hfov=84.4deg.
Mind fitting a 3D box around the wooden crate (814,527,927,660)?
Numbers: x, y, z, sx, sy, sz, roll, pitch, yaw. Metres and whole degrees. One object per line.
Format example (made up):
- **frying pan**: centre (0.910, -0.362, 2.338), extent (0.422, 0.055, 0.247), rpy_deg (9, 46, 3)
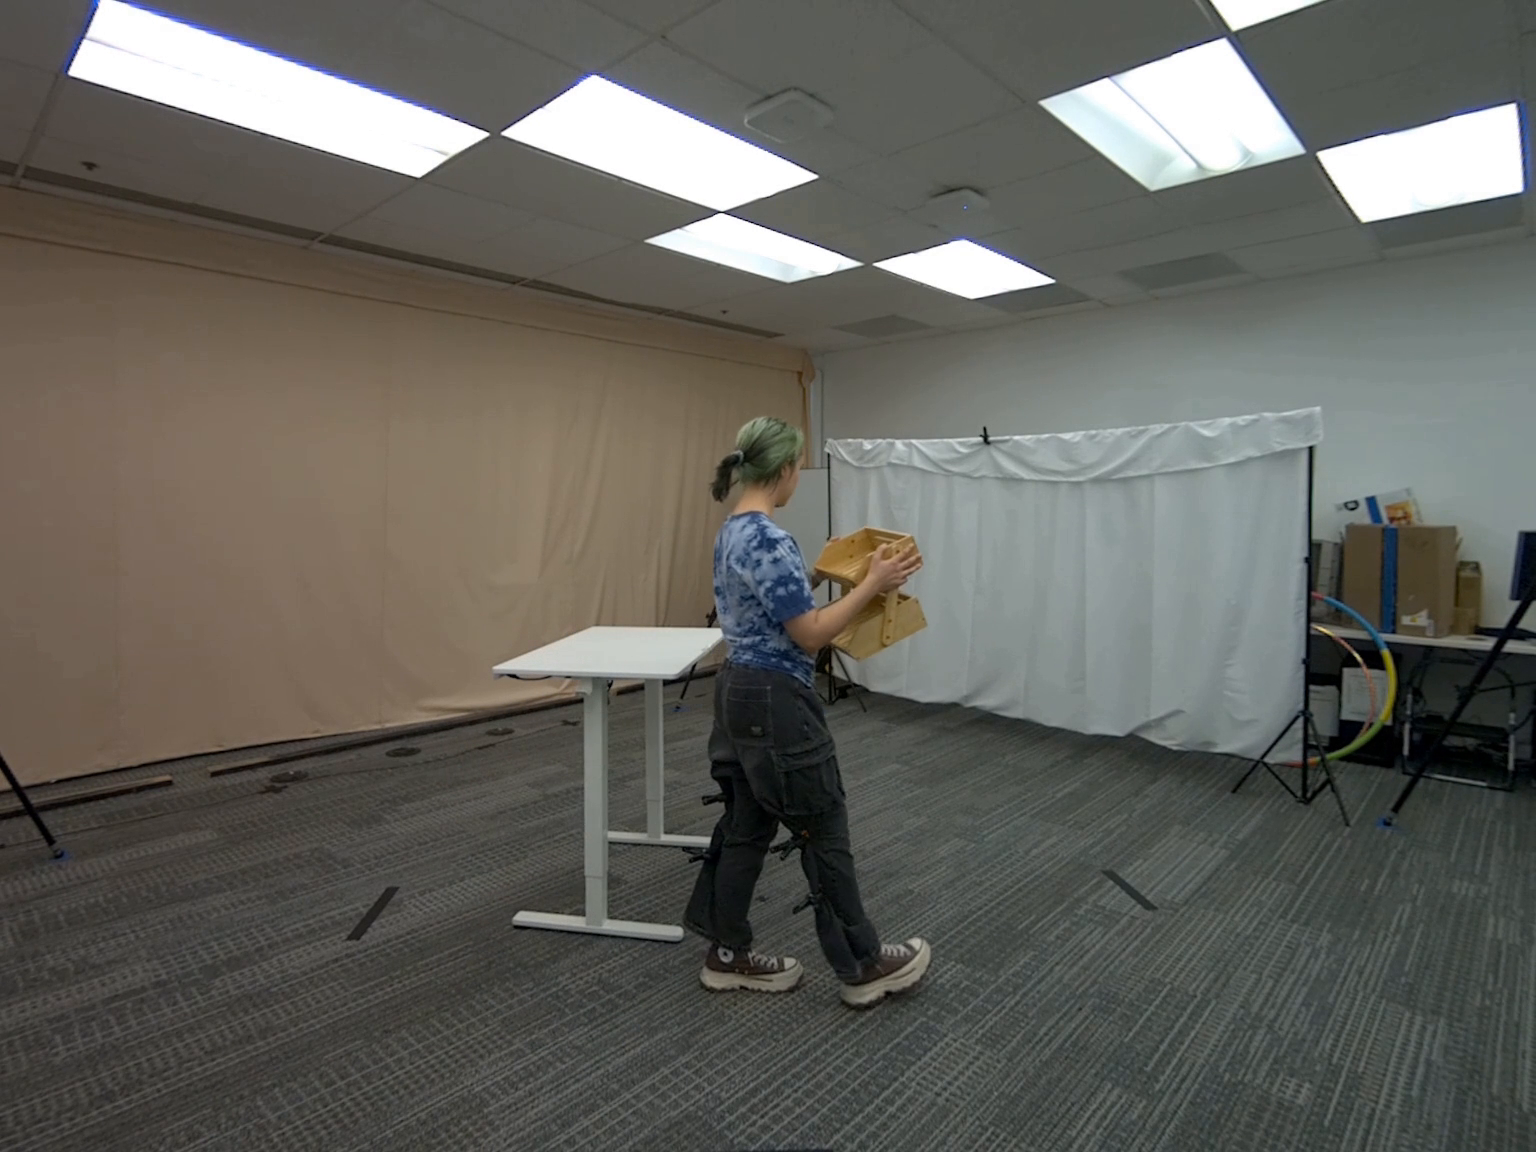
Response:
- **wooden crate**: centre (0.277, 0.041, 2.453), extent (0.299, 0.270, 0.331), rpy_deg (-25, 13, -13)
